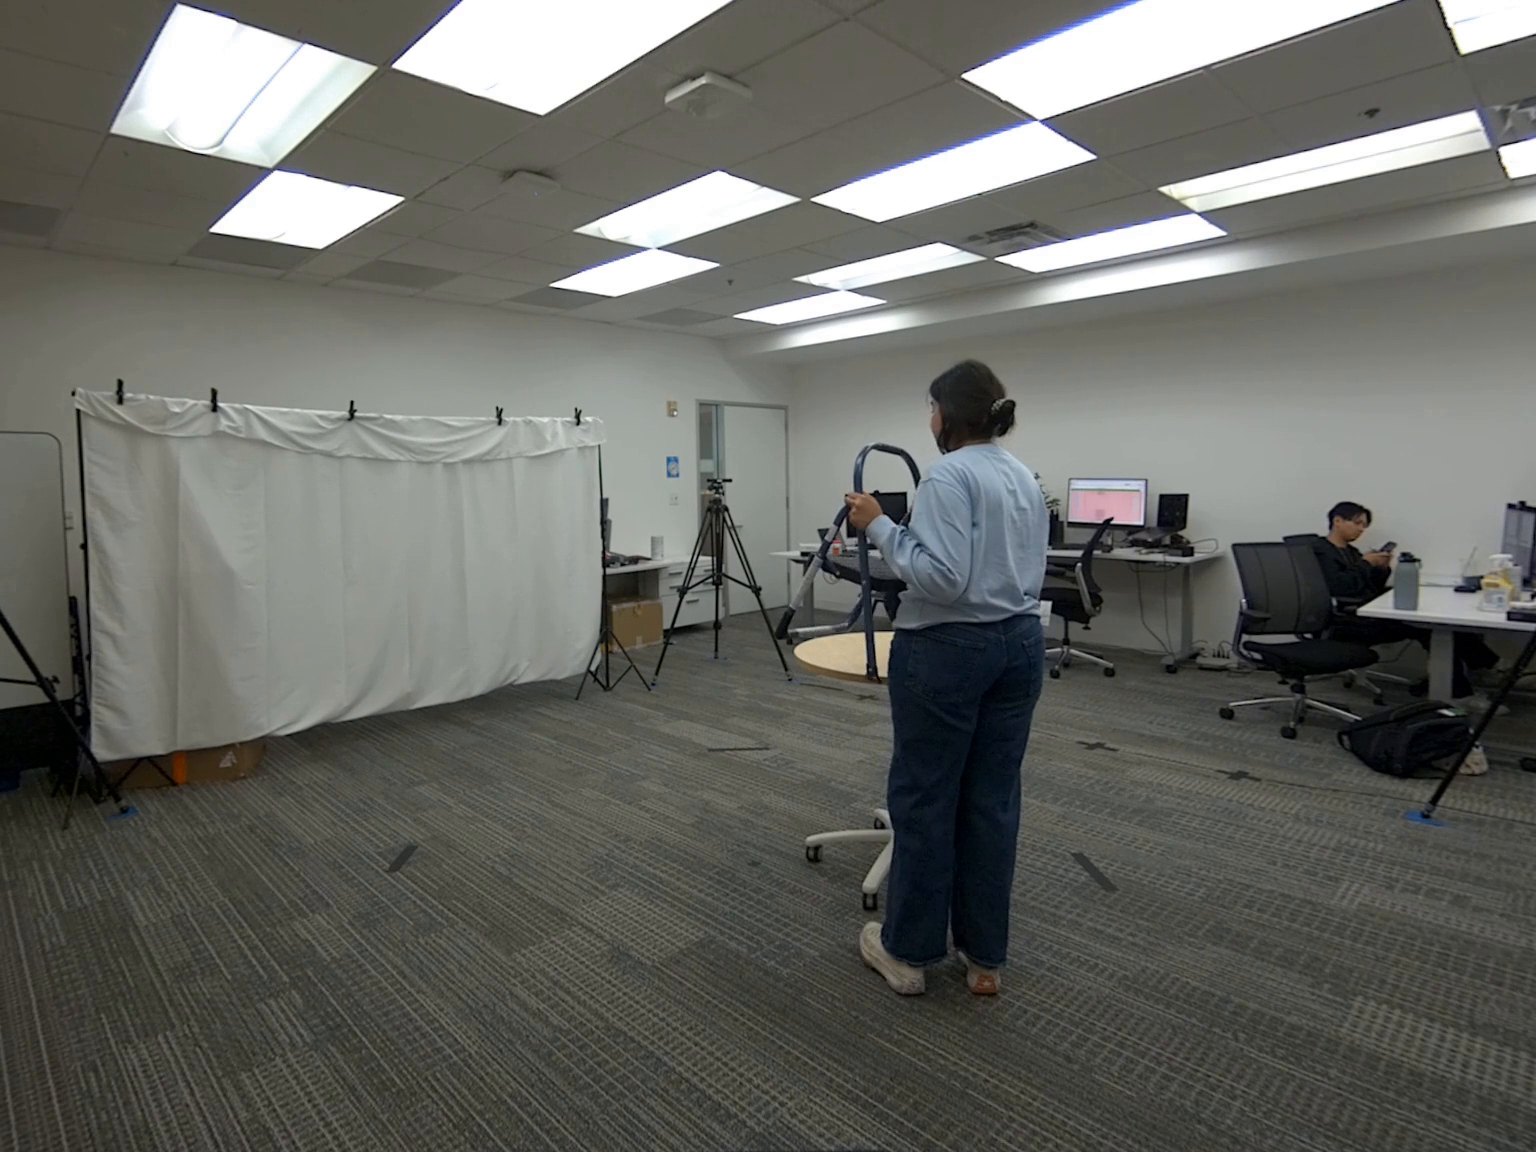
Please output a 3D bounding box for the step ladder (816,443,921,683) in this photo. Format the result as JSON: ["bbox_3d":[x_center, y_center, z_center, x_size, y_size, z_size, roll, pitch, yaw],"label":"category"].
[{"bbox_3d":[0.342,-0.067,2.457,0.361,0.603,0.418,18,9,34],"label":"step ladder"}]
